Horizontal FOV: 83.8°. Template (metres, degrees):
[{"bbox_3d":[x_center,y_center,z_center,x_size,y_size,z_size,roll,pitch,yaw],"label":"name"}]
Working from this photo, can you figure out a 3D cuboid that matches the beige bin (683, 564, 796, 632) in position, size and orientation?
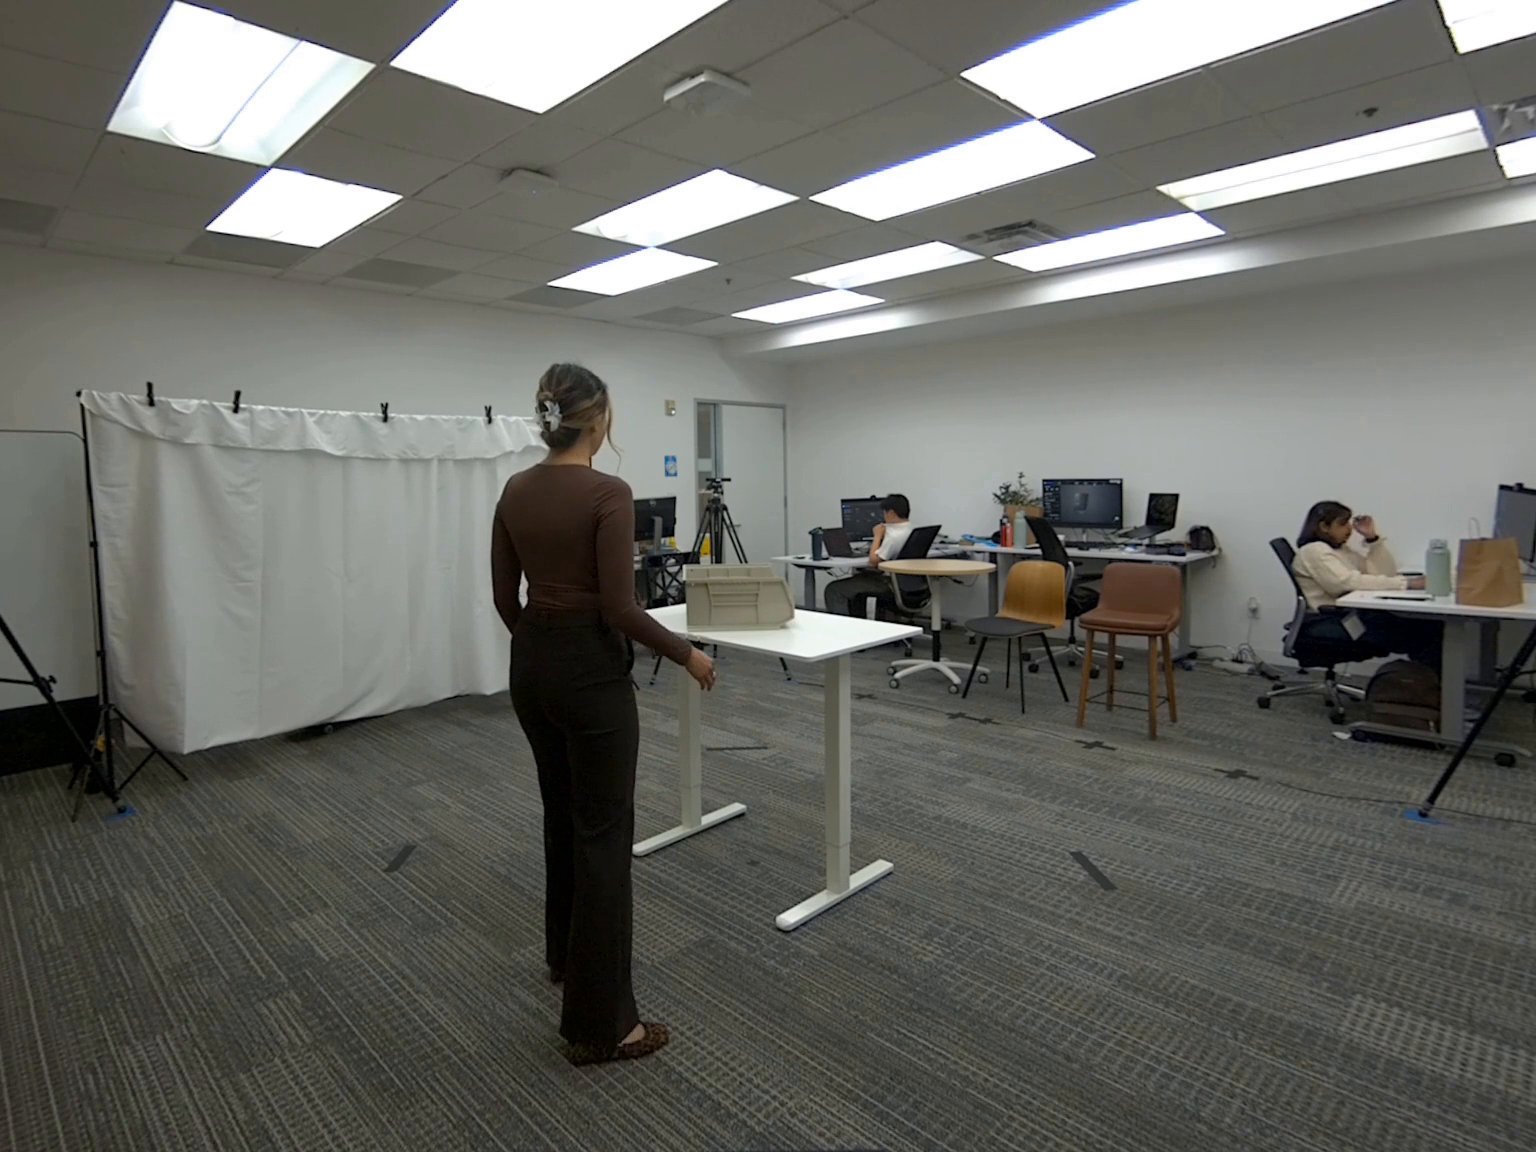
[{"bbox_3d":[-0.118,0.074,3.088,0.376,0.188,0.426,-2,8,-3],"label":"beige bin"}]
